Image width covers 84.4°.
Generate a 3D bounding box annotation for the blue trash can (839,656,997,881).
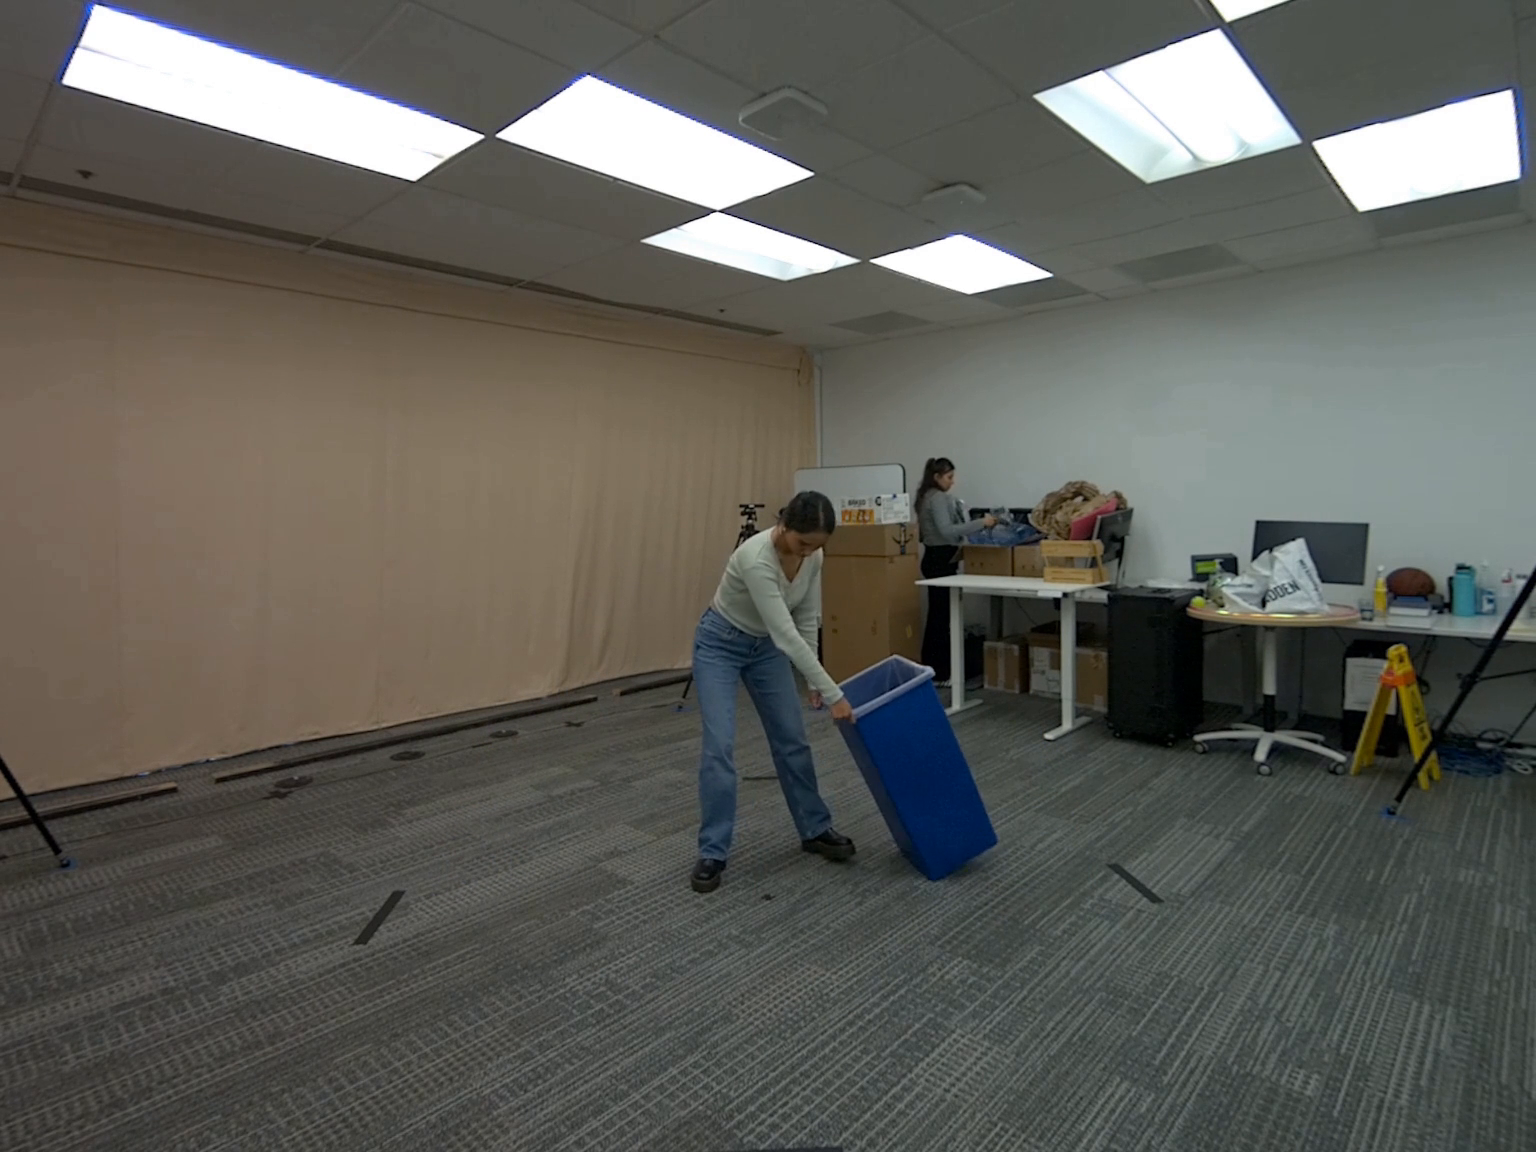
[{"bbox_3d":[0.535,0.726,3.197,0.371,0.709,0.383,-26,6,-11],"label":"blue trash can"}]
